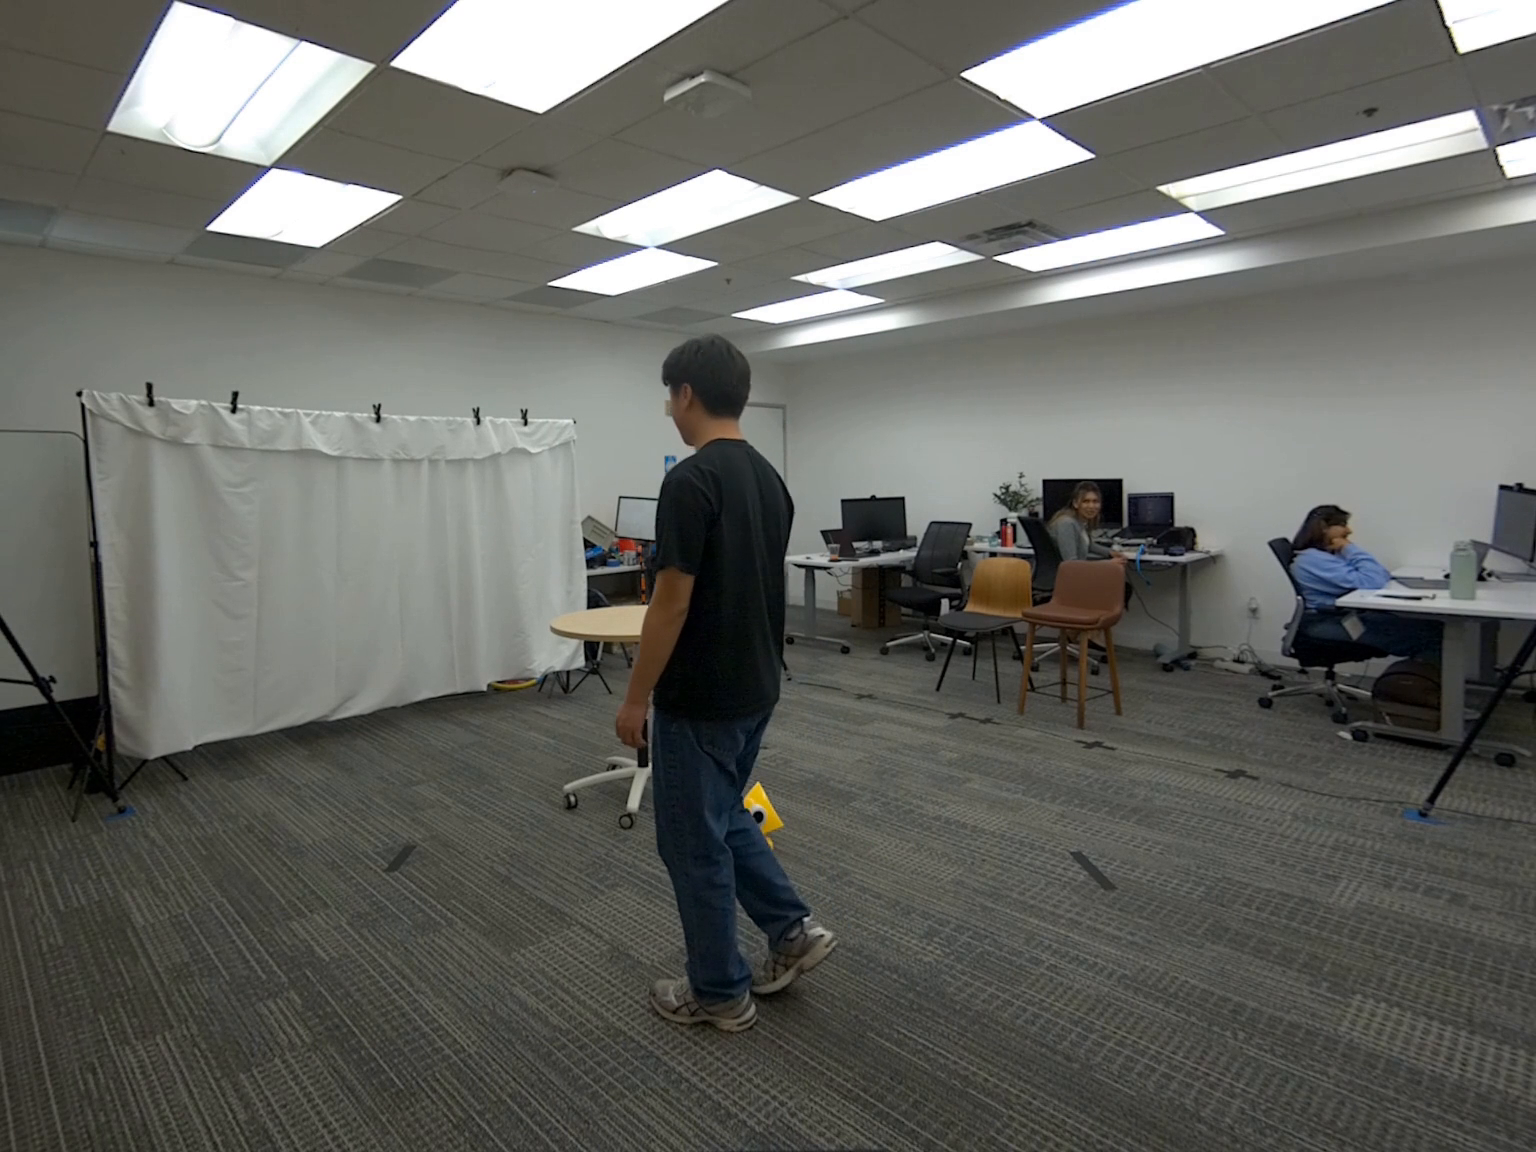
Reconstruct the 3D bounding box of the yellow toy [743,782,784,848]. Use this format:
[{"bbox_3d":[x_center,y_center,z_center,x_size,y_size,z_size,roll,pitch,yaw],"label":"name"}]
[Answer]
[{"bbox_3d":[-0.071,0.915,3.245,0.211,0.230,0.188,4,6,43],"label":"yellow toy"}]
